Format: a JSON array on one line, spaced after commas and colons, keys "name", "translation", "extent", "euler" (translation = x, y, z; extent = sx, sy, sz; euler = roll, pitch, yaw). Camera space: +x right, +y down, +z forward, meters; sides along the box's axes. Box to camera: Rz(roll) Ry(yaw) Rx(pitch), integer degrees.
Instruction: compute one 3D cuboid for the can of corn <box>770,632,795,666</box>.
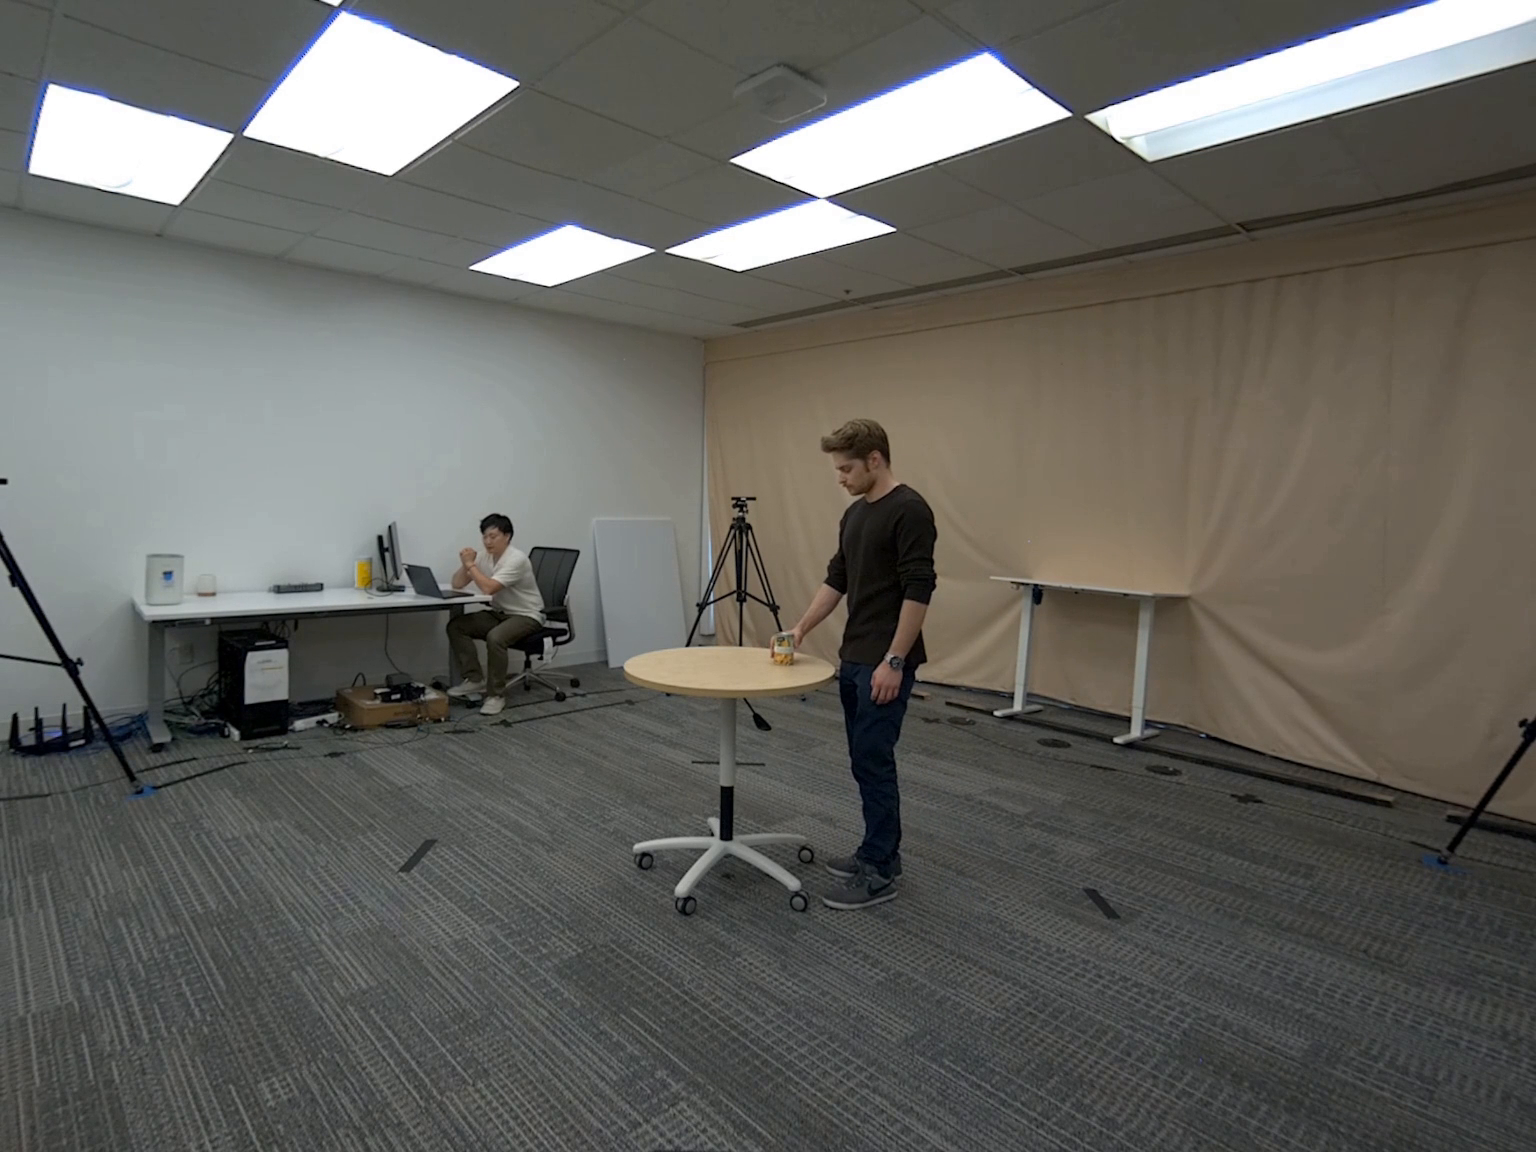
[{"name": "can of corn", "translation": [0.053, 0.269, 3.113], "extent": [0.074, 0.111, 0.074], "euler": [-2, -1, -1]}]
